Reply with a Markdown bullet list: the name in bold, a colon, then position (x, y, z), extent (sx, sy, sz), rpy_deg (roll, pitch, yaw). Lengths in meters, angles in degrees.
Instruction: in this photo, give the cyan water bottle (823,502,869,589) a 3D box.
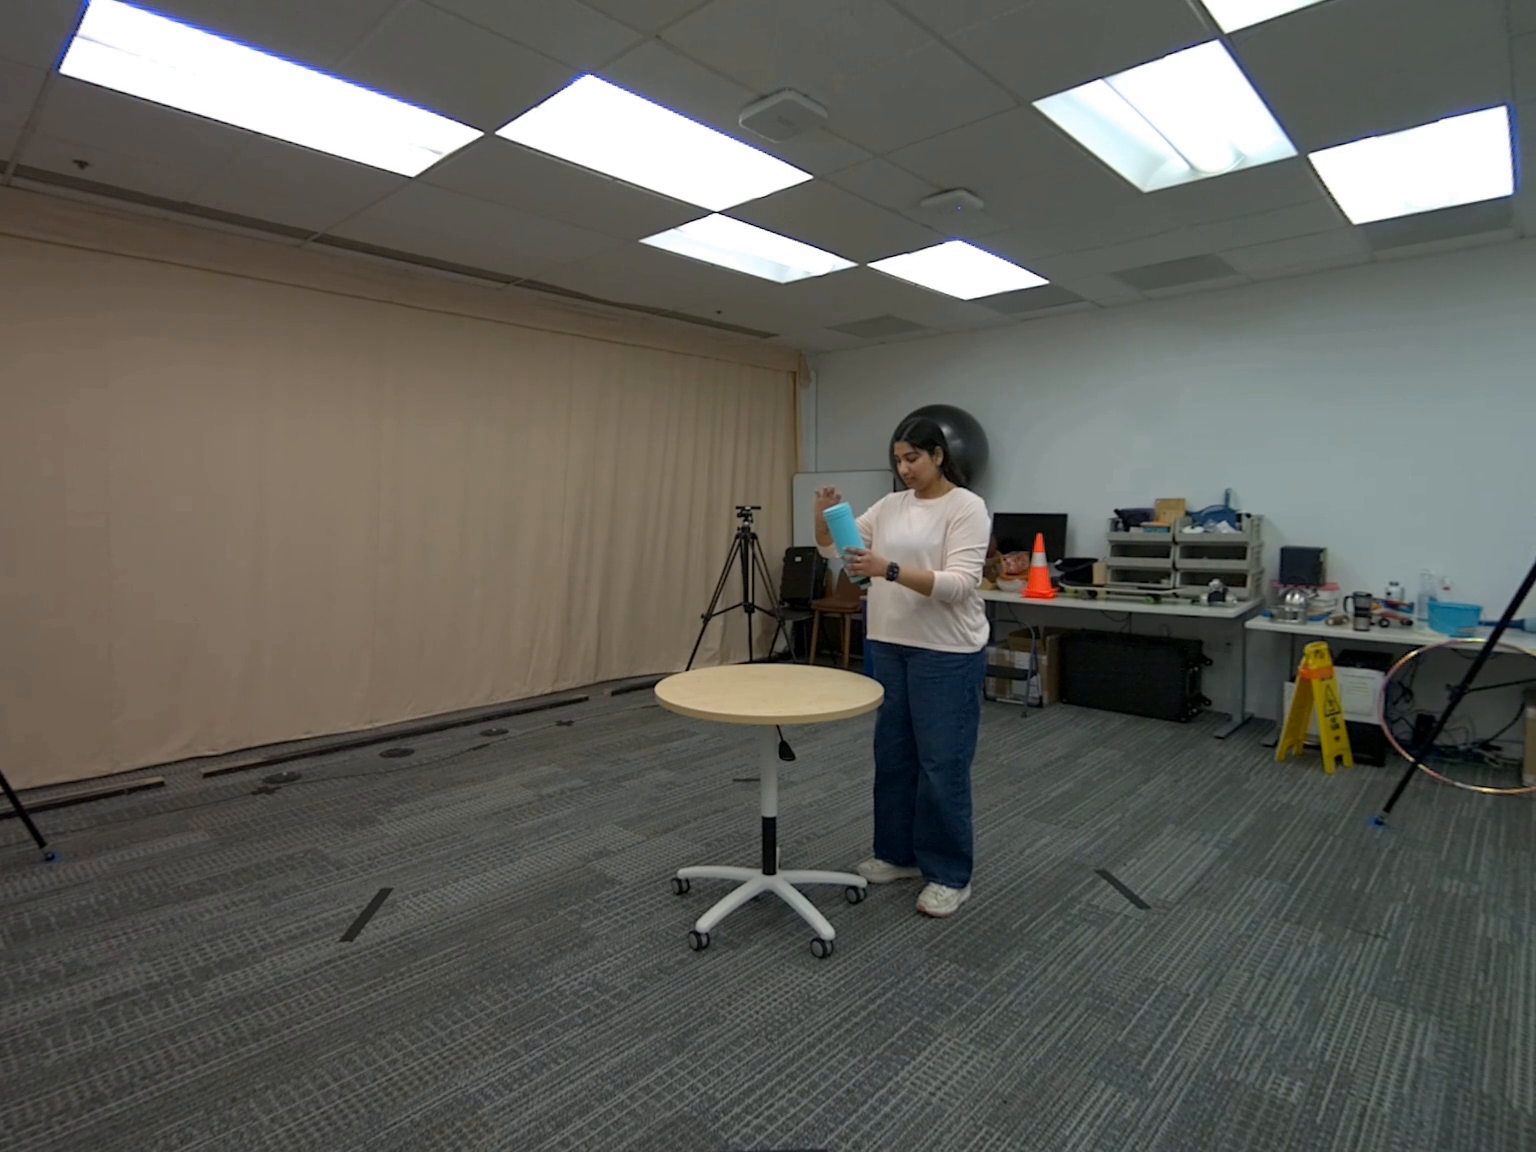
- **cyan water bottle**: position (0.284, -0.093, 2.788), extent (0.092, 0.281, 0.093), rpy_deg (-18, 10, 2)
